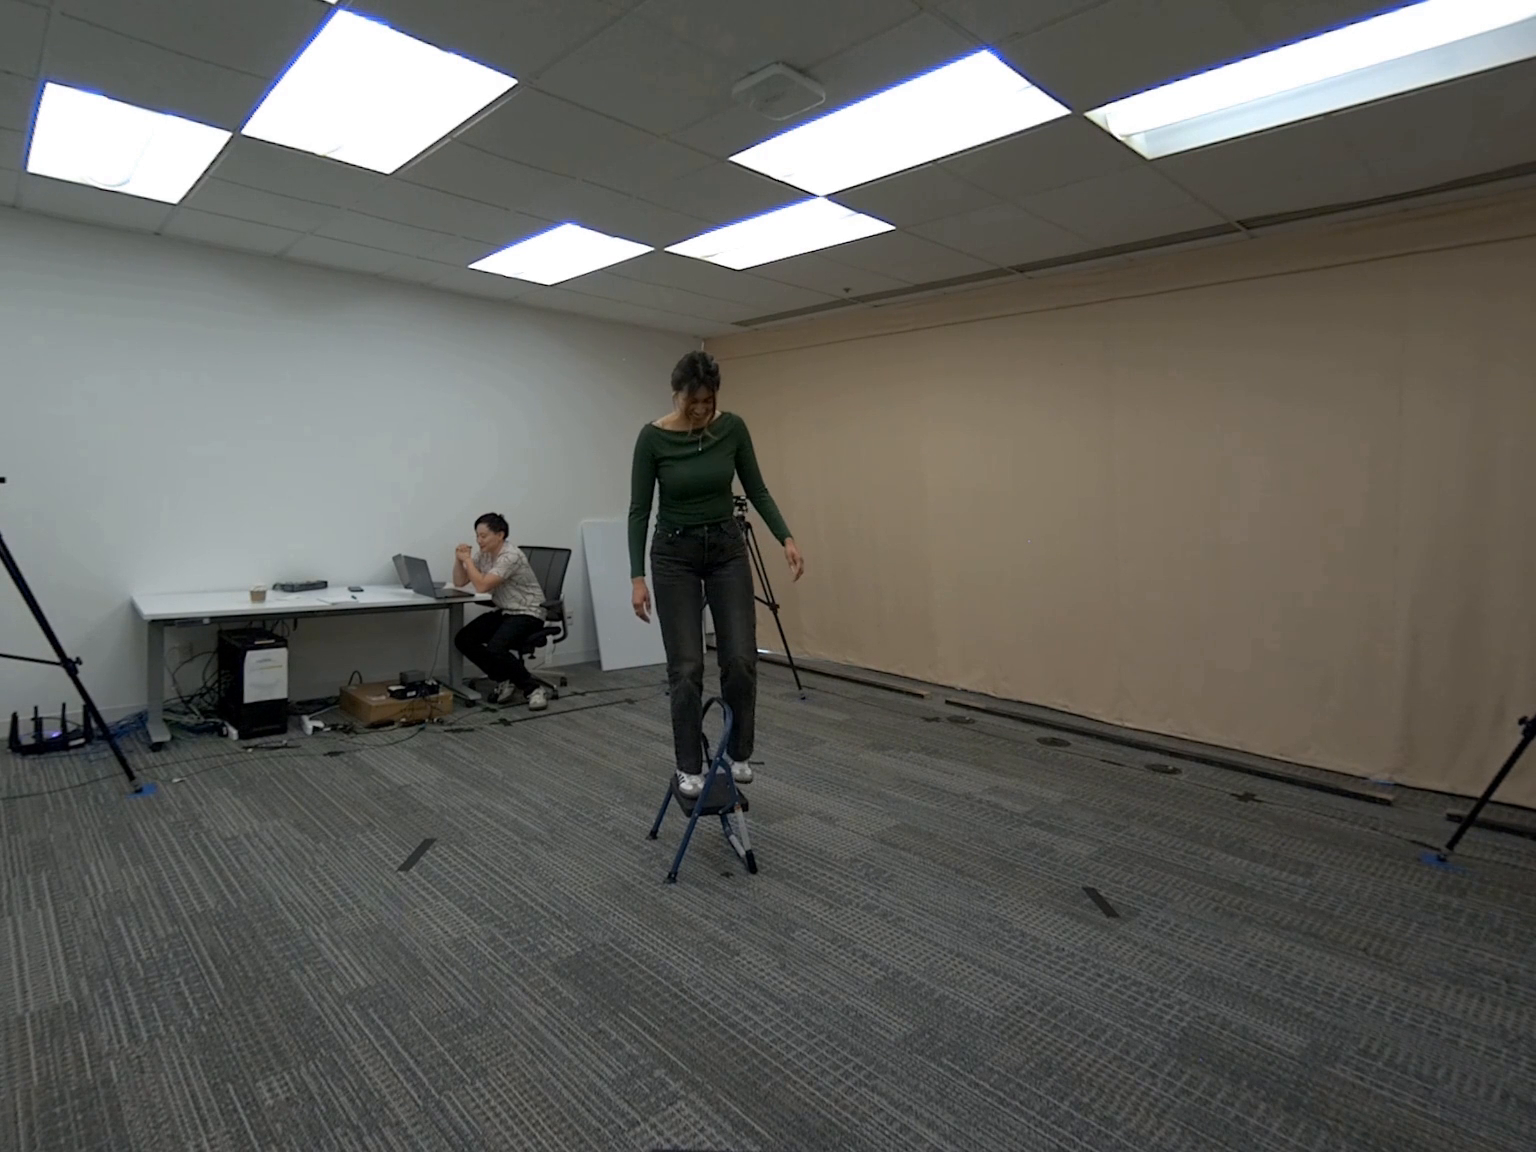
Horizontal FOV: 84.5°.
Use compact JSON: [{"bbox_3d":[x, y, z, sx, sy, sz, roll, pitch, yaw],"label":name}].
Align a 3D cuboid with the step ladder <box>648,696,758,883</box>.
[{"bbox_3d":[-0.261,0.784,3.244,0.345,0.604,0.437,1,4,-17],"label":"step ladder"}]
